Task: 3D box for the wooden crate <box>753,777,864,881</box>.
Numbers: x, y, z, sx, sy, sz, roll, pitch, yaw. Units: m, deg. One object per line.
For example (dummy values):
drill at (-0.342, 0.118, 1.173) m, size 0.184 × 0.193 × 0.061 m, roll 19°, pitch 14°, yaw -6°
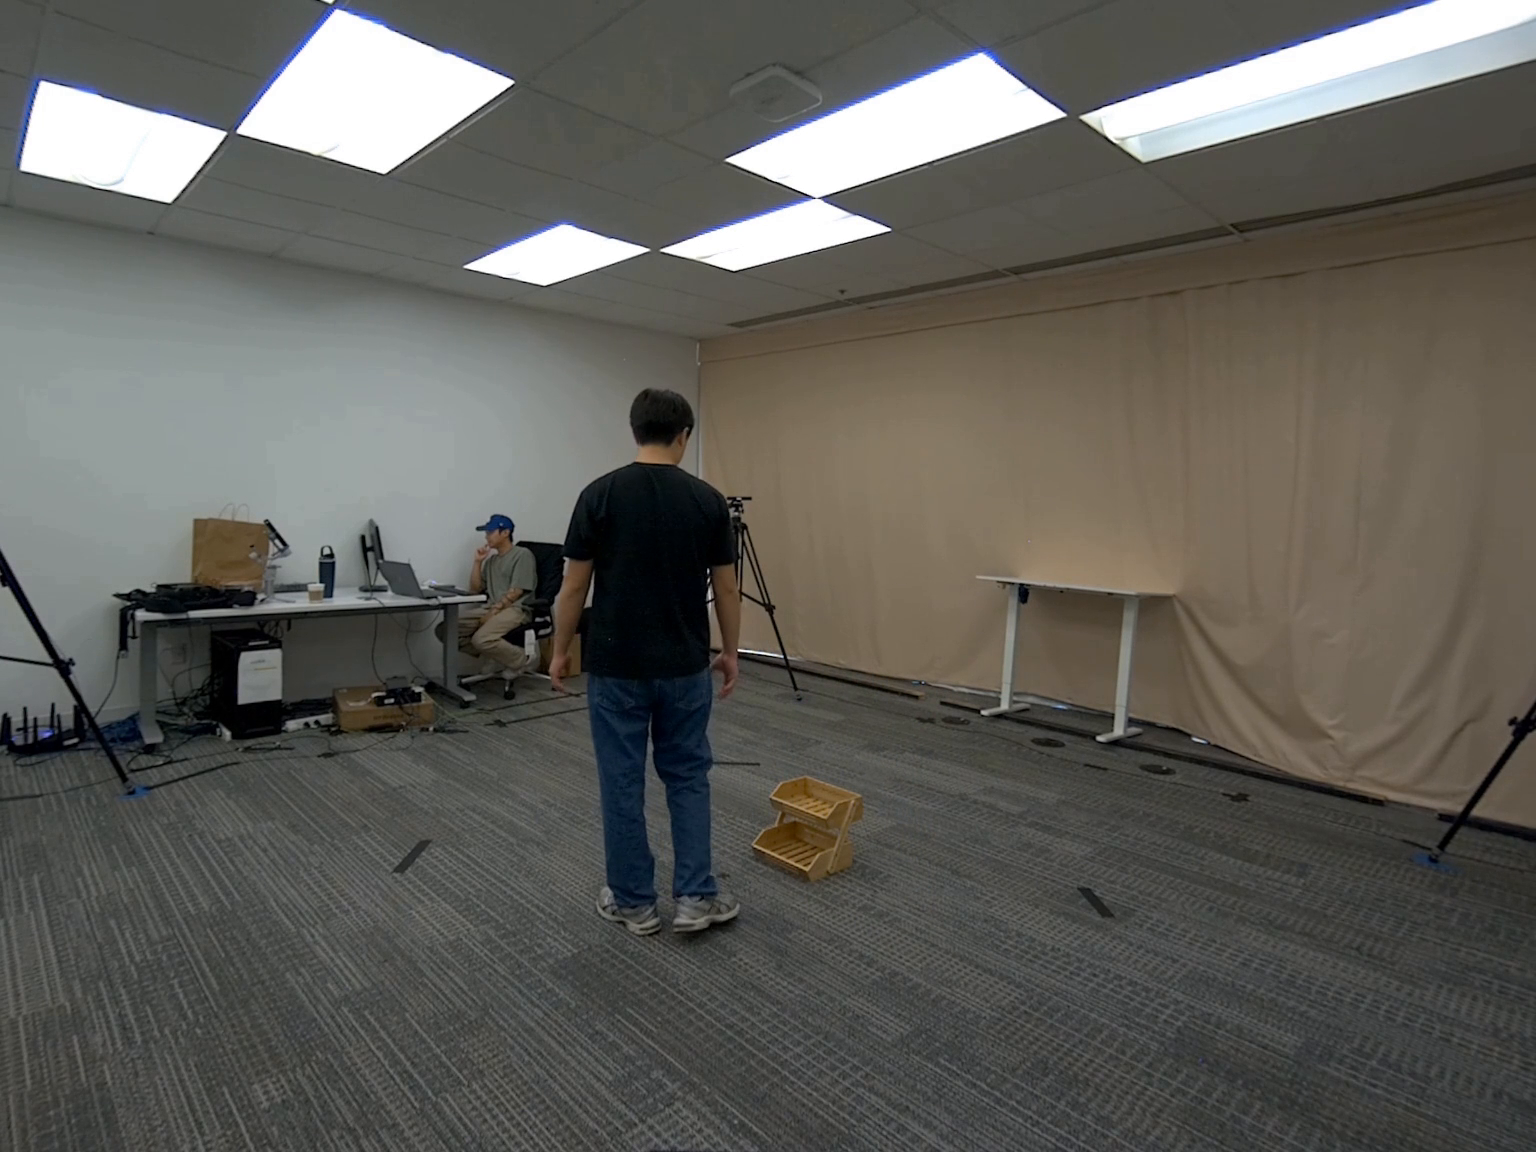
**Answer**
wooden crate at (0.142, 0.966, 3.259) m, size 0.295 × 0.273 × 0.333 m, roll -2°, pitch 5°, yaw -43°
